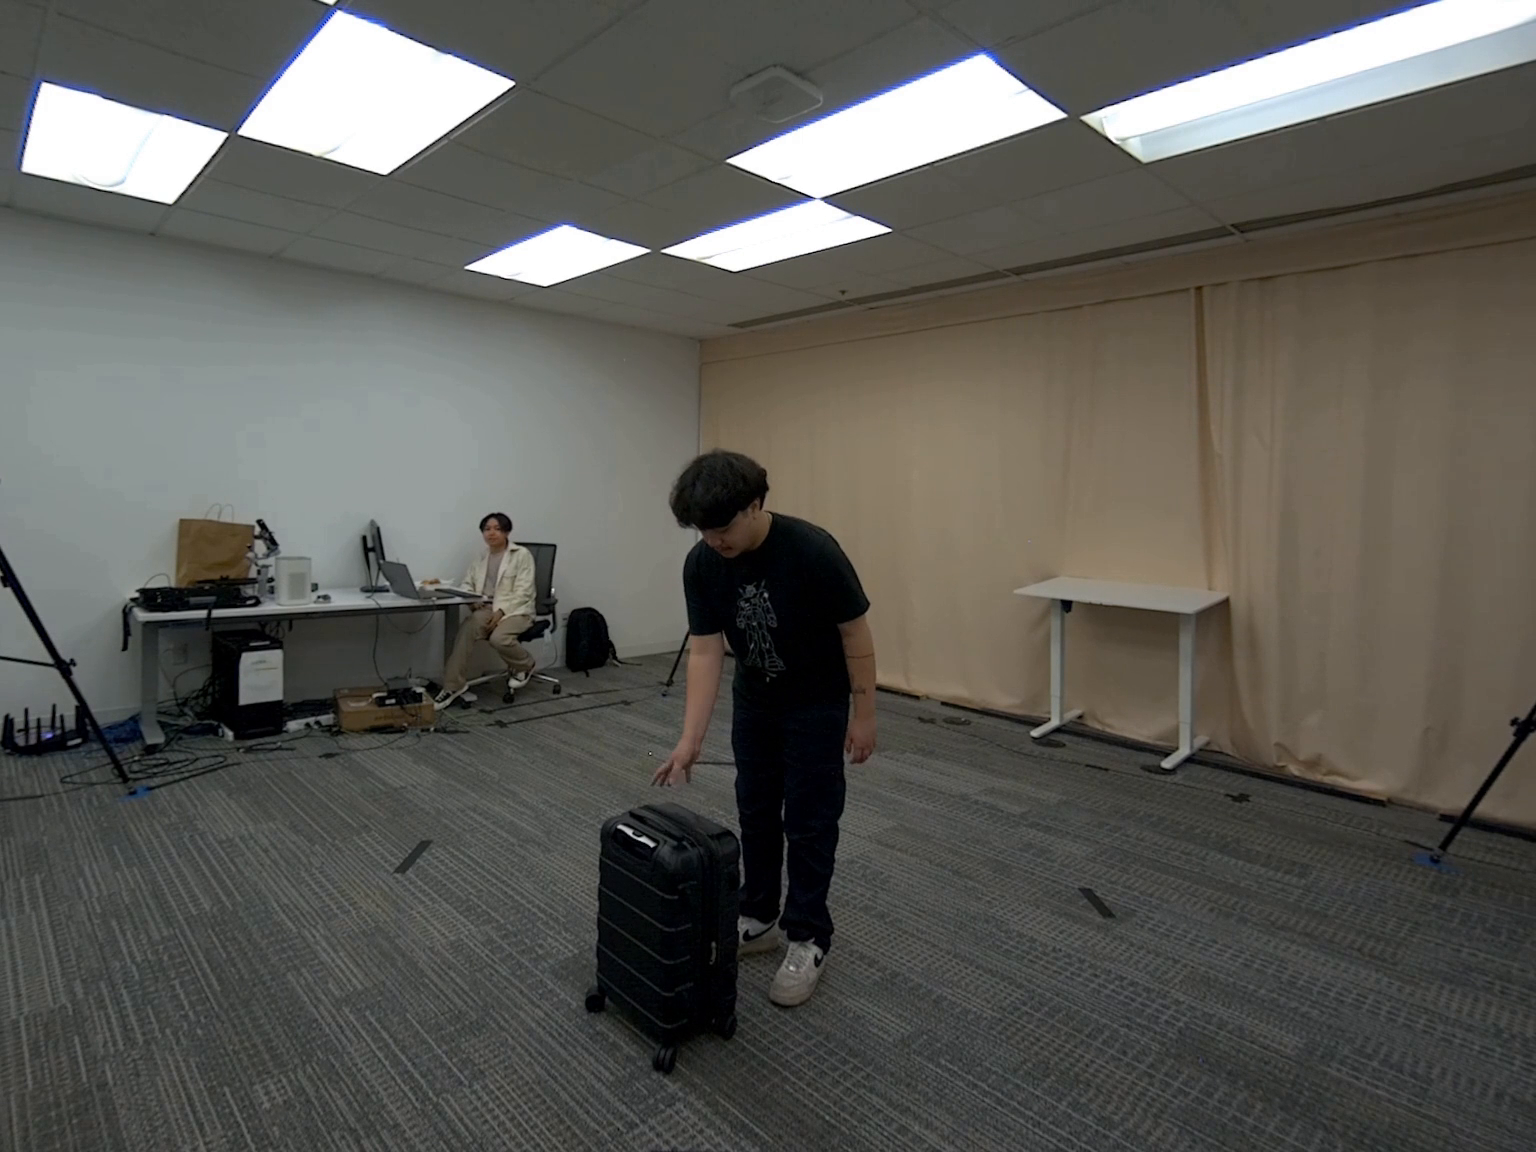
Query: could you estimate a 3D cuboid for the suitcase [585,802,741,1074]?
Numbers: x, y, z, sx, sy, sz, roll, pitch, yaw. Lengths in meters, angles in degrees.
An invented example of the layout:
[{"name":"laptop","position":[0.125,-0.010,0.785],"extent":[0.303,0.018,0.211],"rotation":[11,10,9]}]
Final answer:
[{"name":"suitcase","position":[-0.277,0.912,2.221],"extent":[0.242,0.549,0.385],"rotation":[1,3,-43]}]
